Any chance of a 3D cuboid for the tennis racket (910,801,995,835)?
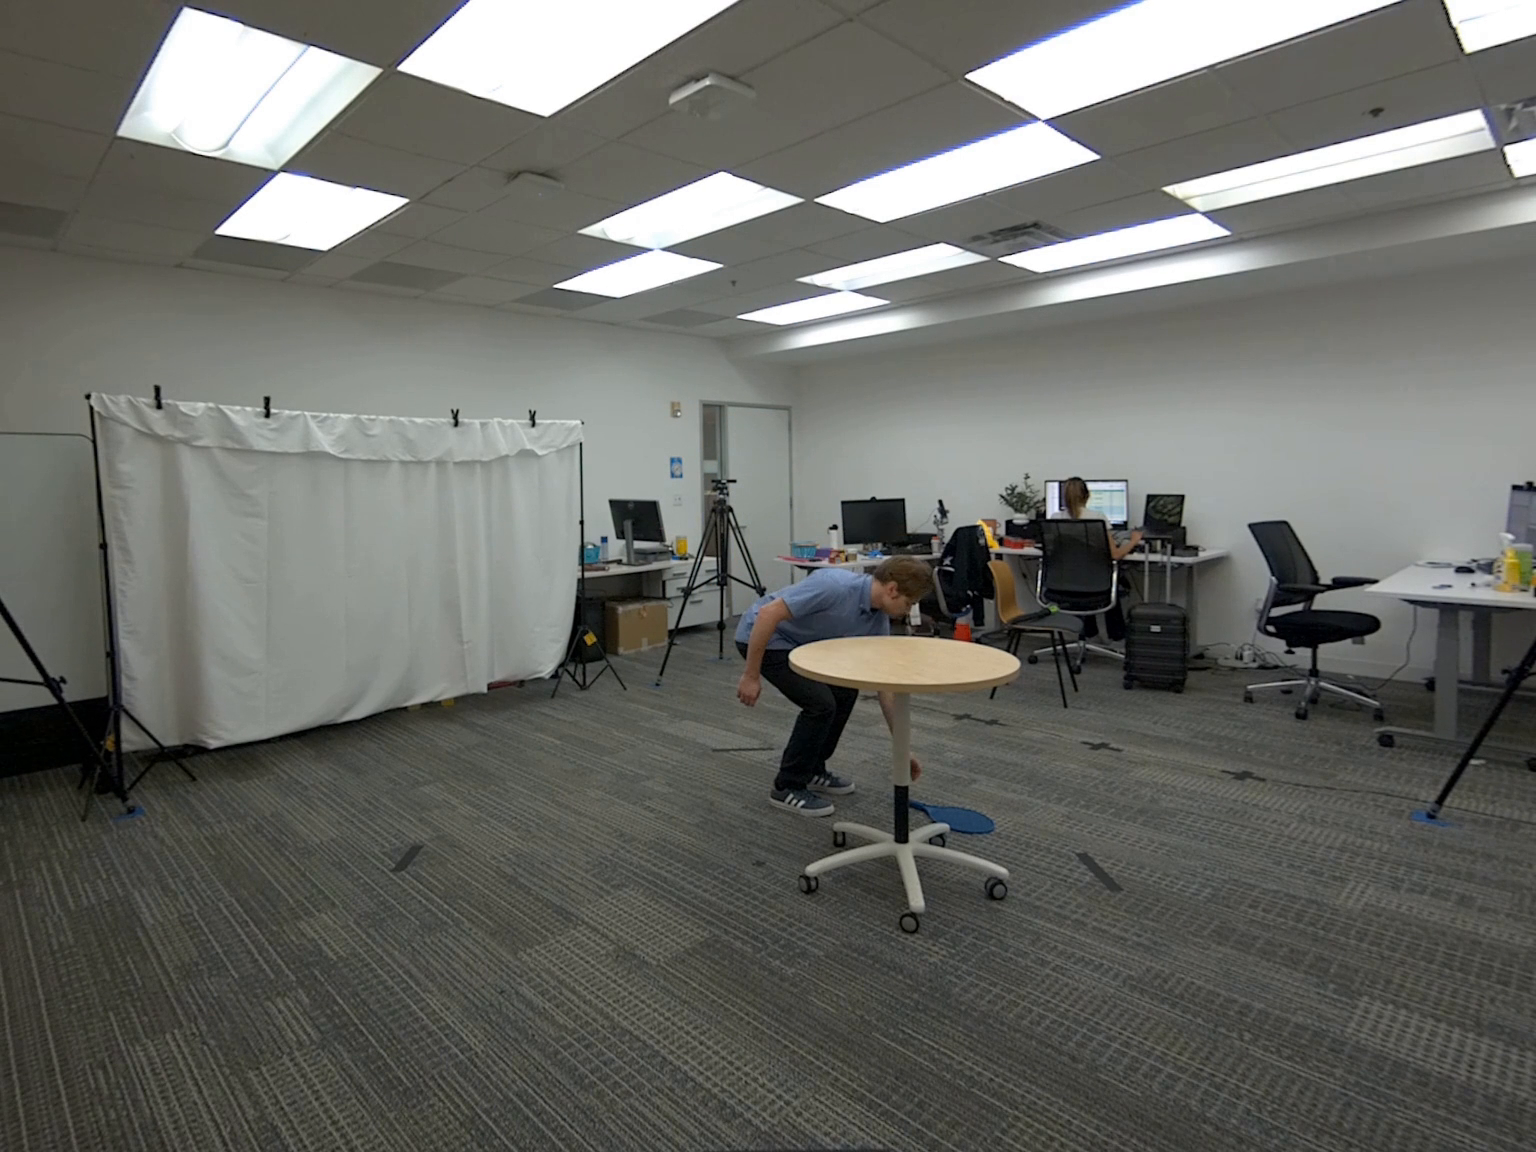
[{"bbox_3d":[0.724,0.975,3.519,0.208,0.031,0.447,-7,10,-42],"label":"tennis racket"}]
